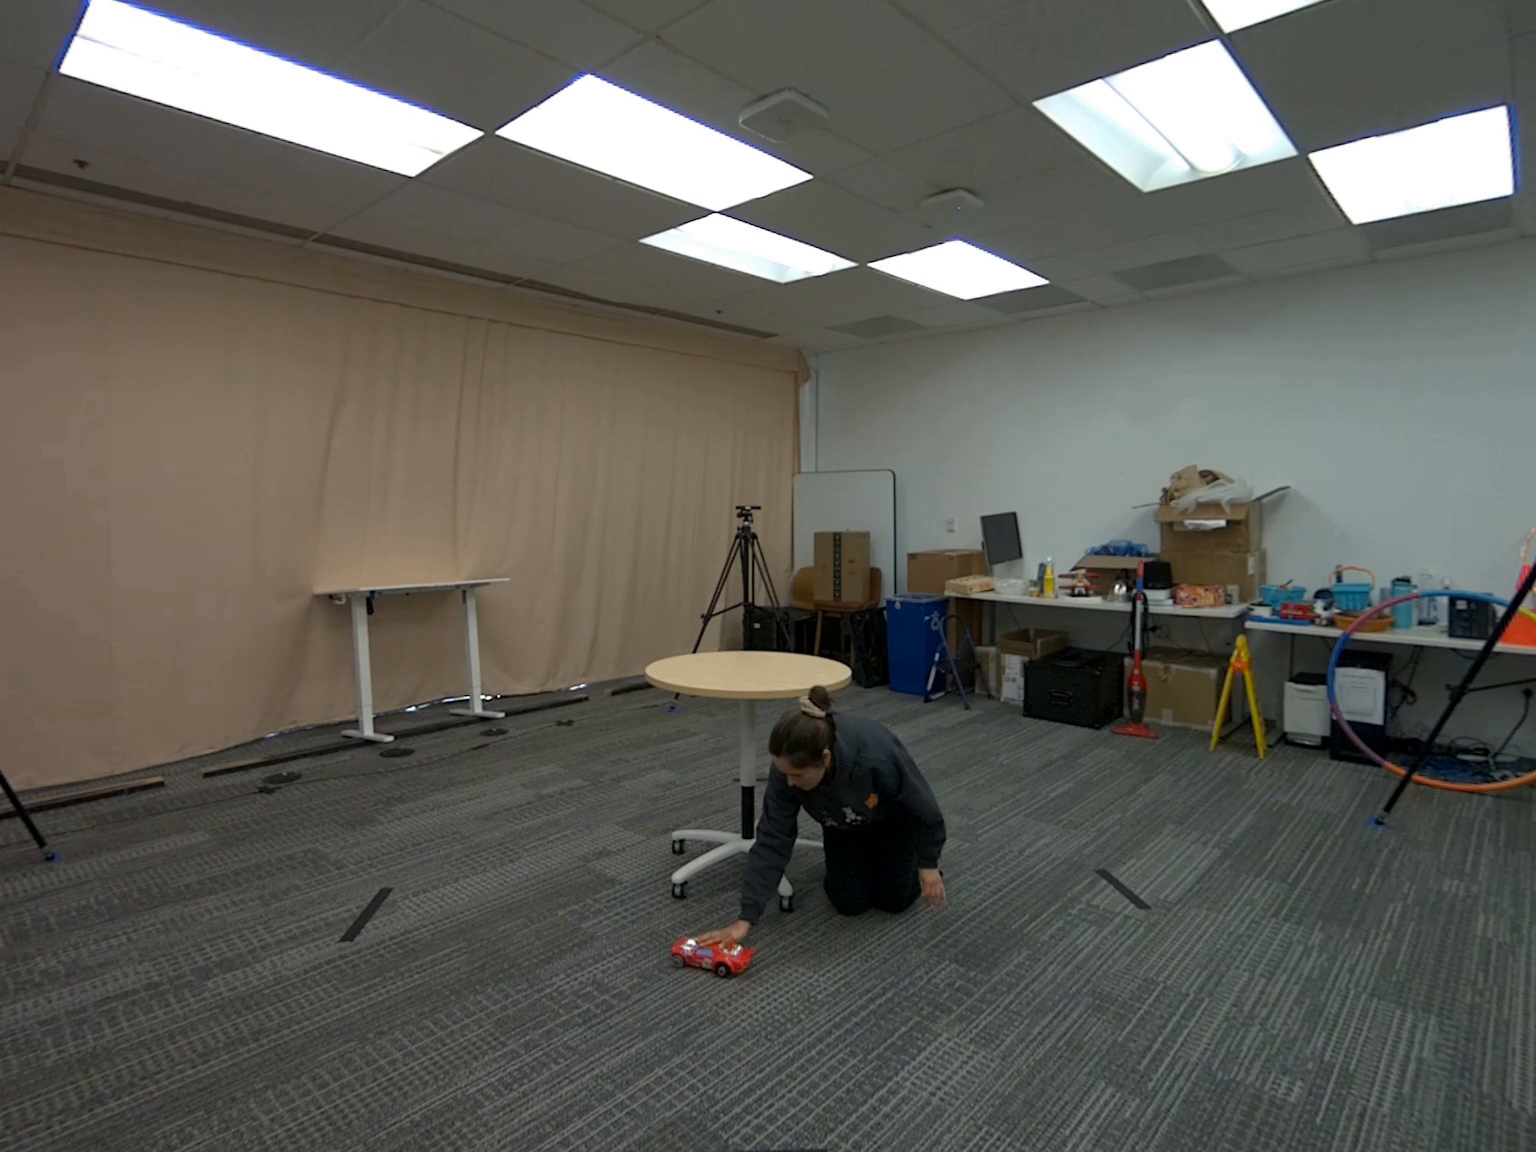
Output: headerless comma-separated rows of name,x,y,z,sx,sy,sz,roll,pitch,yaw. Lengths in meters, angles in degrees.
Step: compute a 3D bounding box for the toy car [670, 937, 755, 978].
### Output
toy car,-0.144,1.150,2.546,0.259,0.083,0.128,-13,0,20
